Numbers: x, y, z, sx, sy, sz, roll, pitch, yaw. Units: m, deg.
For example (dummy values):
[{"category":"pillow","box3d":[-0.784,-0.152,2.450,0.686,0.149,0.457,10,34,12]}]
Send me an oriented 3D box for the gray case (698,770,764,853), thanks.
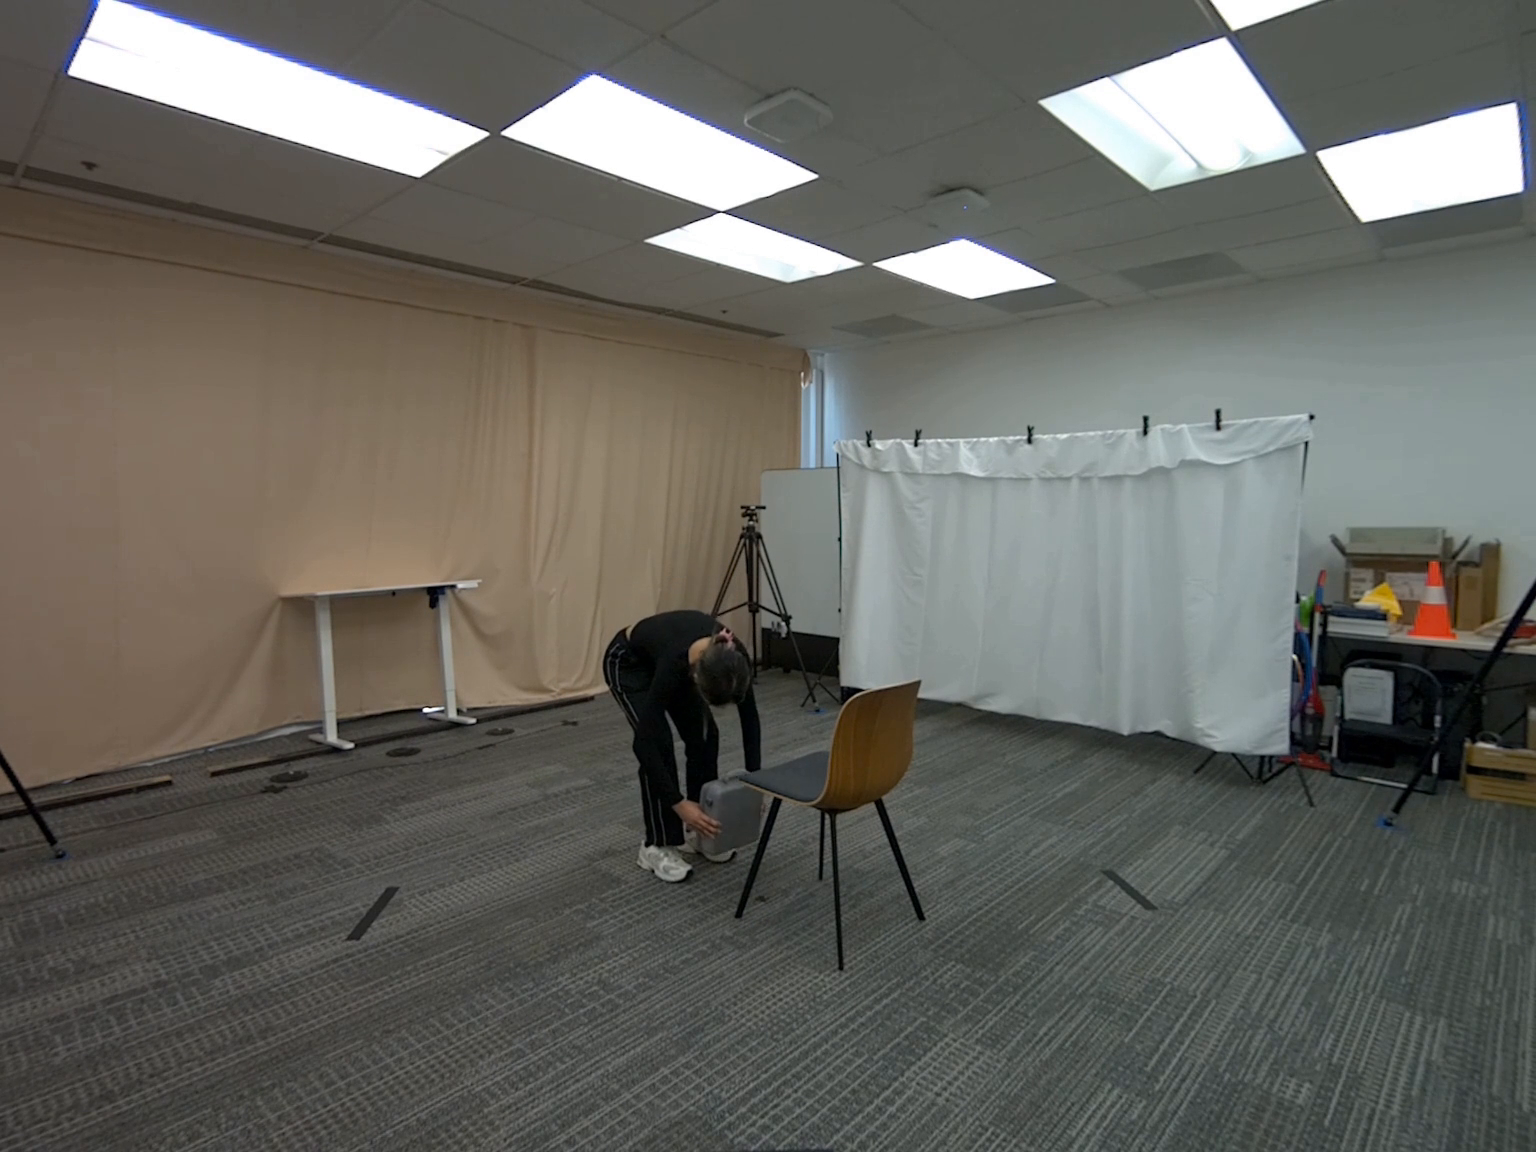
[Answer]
[{"category":"gray case","box3d":[-0.129,0.856,3.060,0.249,0.259,0.108,-5,11,-43]}]
